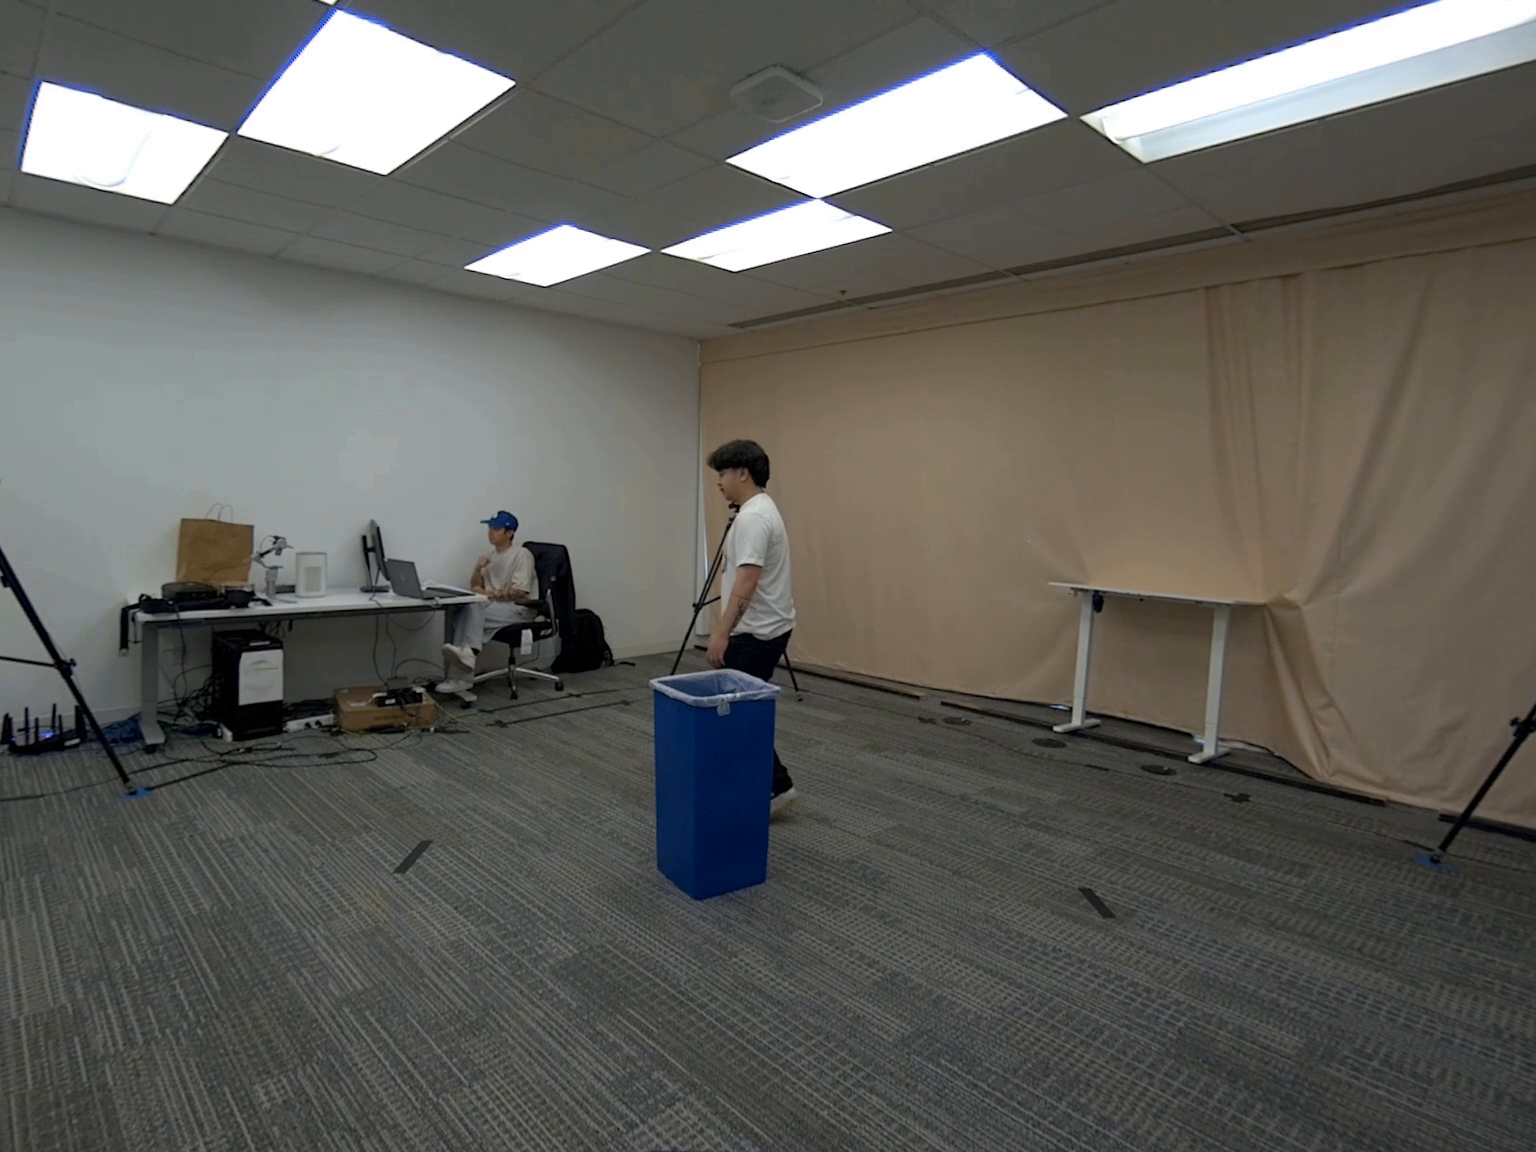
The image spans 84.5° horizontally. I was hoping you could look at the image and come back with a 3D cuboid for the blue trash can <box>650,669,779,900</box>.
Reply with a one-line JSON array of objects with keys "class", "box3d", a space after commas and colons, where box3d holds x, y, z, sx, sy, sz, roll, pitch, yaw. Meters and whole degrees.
[{"class": "blue trash can", "box3d": [-0.218, 0.749, 3.096, 0.370, 0.712, 0.383, -1, 5, -34]}]
